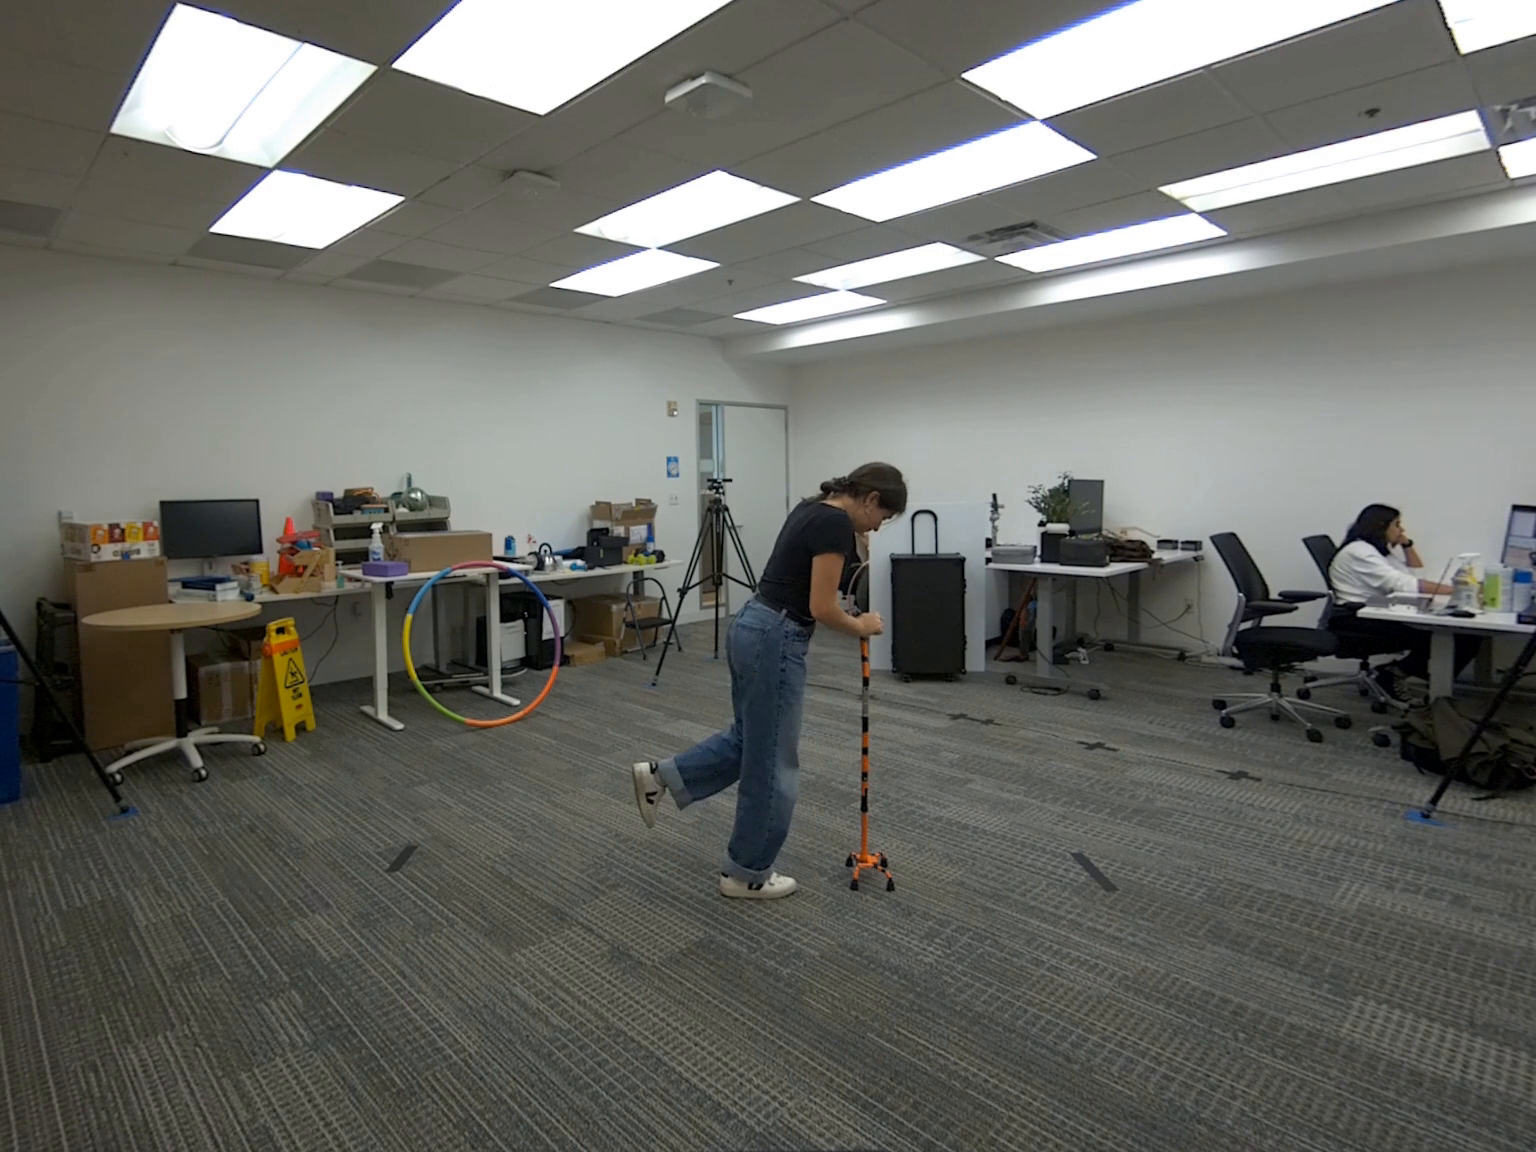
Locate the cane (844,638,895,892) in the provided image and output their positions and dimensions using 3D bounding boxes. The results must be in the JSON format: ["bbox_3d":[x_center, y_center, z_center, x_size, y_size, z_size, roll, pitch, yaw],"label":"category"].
[{"bbox_3d":[0.355,0.593,2.956,0.152,0.905,0.207,0,3,1],"label":"cane"}]
